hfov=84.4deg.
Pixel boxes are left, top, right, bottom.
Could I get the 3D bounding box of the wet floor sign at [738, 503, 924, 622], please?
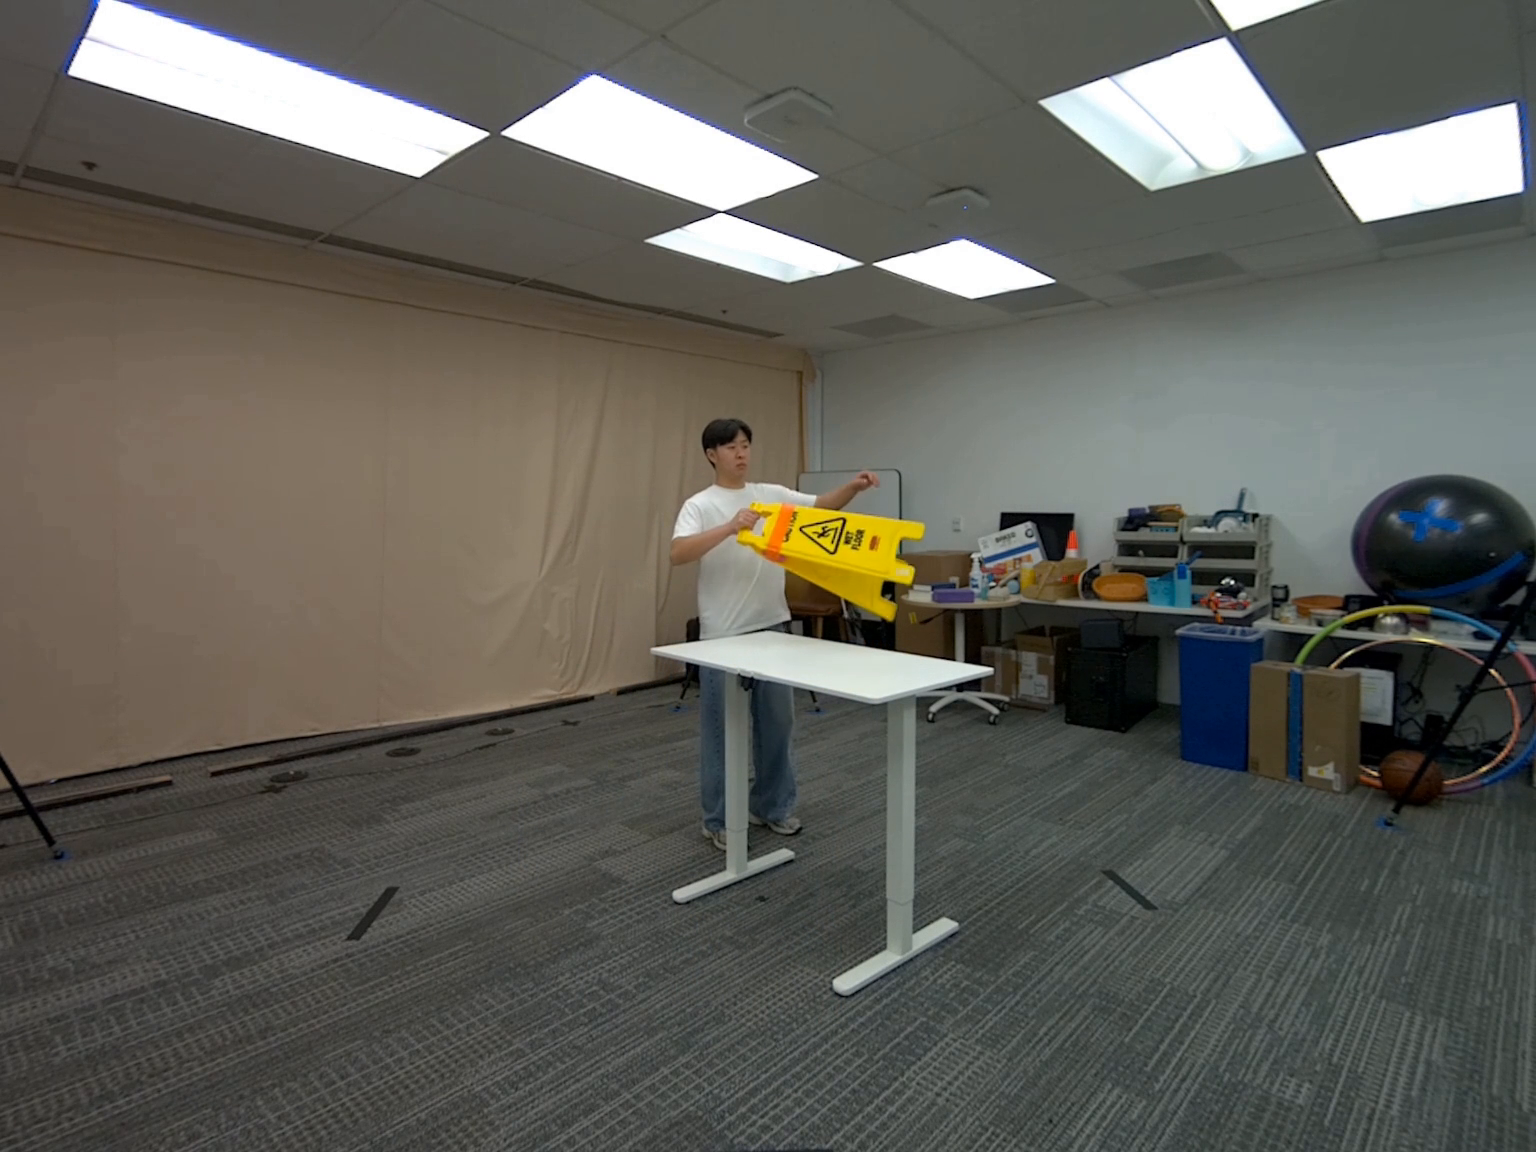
[{"bbox_3d":[0.214,-0.098,3.160,0.651,0.283,0.286,19,-33,6],"label":"wet floor sign"}]
